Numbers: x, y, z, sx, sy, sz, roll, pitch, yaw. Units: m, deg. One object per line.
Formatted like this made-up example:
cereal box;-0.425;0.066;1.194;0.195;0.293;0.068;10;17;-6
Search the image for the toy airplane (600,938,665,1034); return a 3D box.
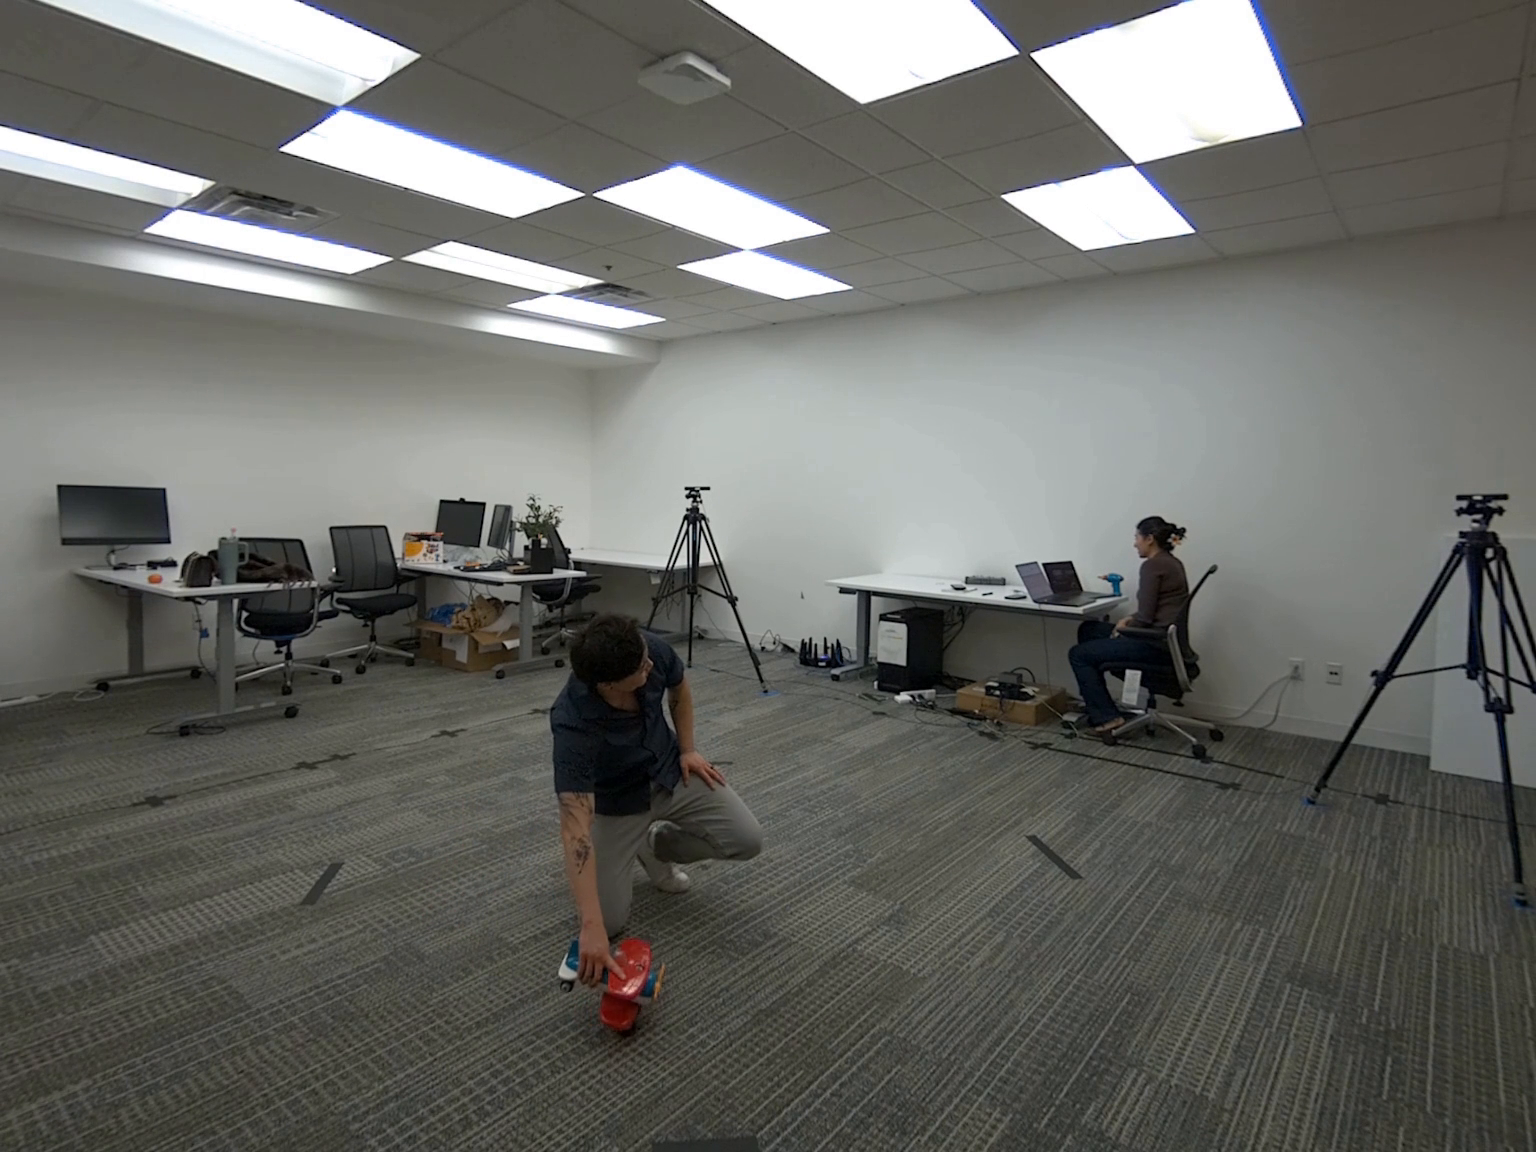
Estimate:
toy airplane;-0.409;1.054;2.184;0.251;0.156;0.260;27;6;-28
